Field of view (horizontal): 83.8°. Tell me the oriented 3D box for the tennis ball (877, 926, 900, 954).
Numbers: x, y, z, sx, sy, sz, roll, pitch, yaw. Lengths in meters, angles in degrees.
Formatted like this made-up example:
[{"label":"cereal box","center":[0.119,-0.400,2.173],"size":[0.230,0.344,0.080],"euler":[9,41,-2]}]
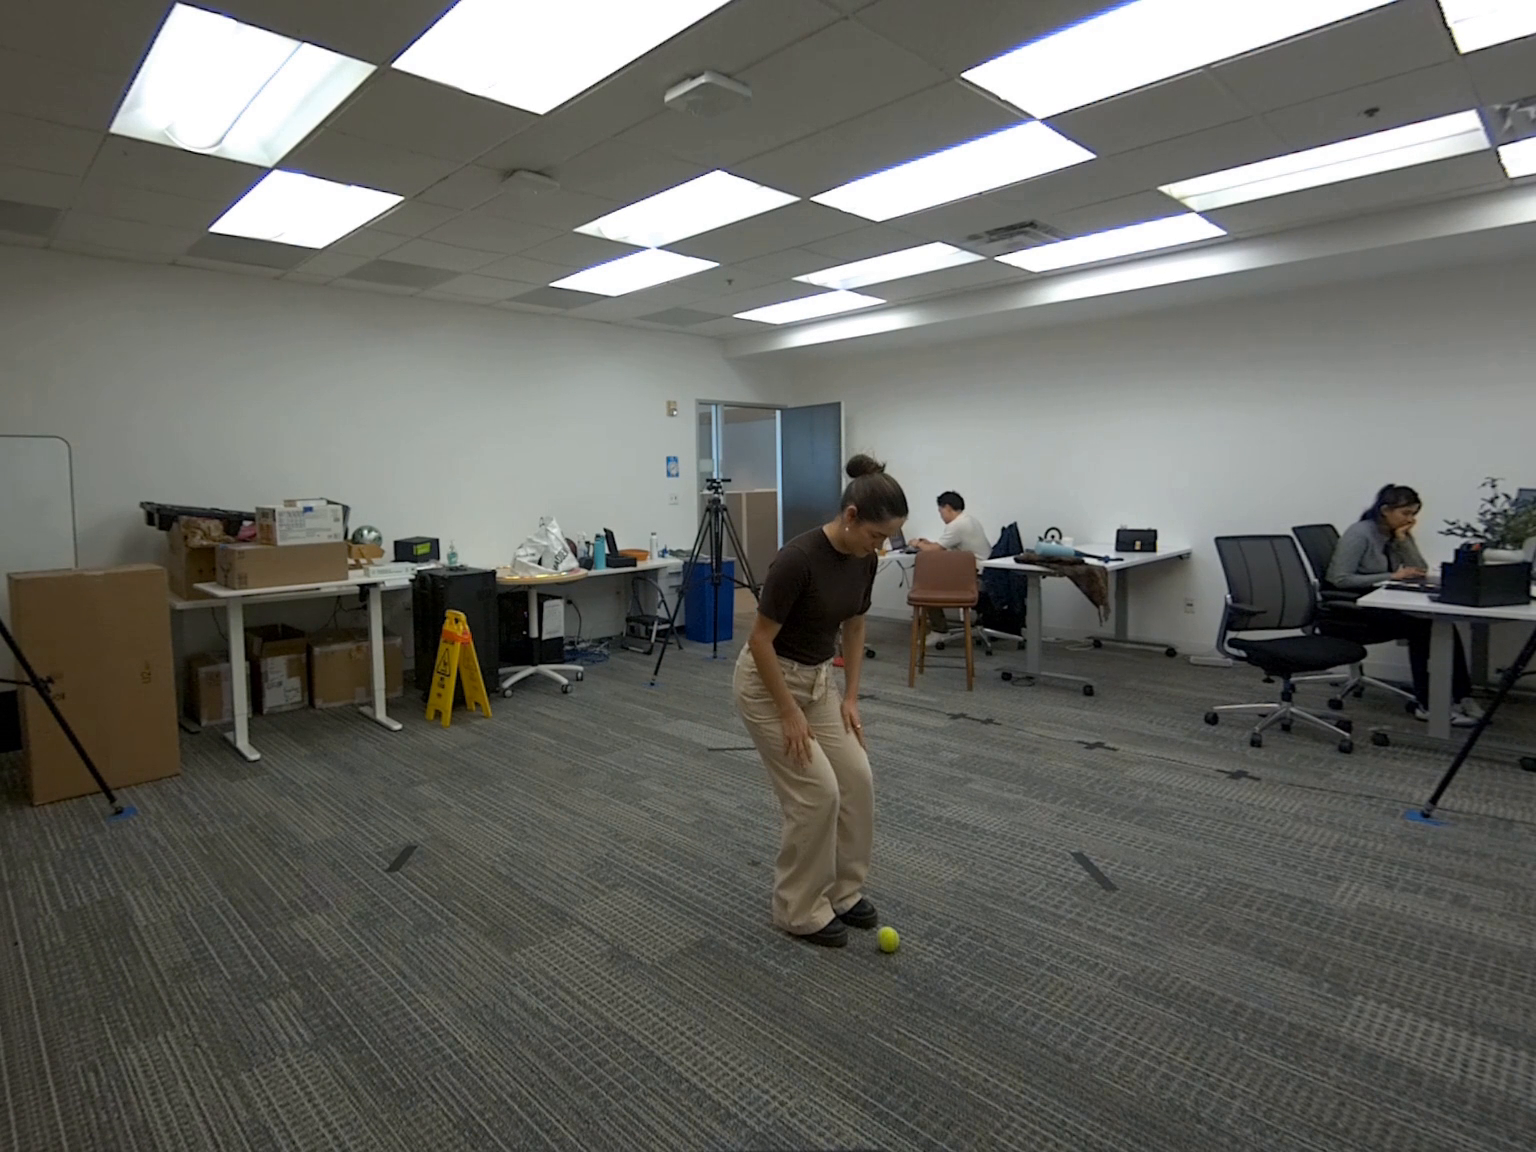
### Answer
[{"label":"tennis ball","center":[0.345,1.064,2.523],"size":[0.066,0.066,0.067],"euler":[-1,5,-2]}]
